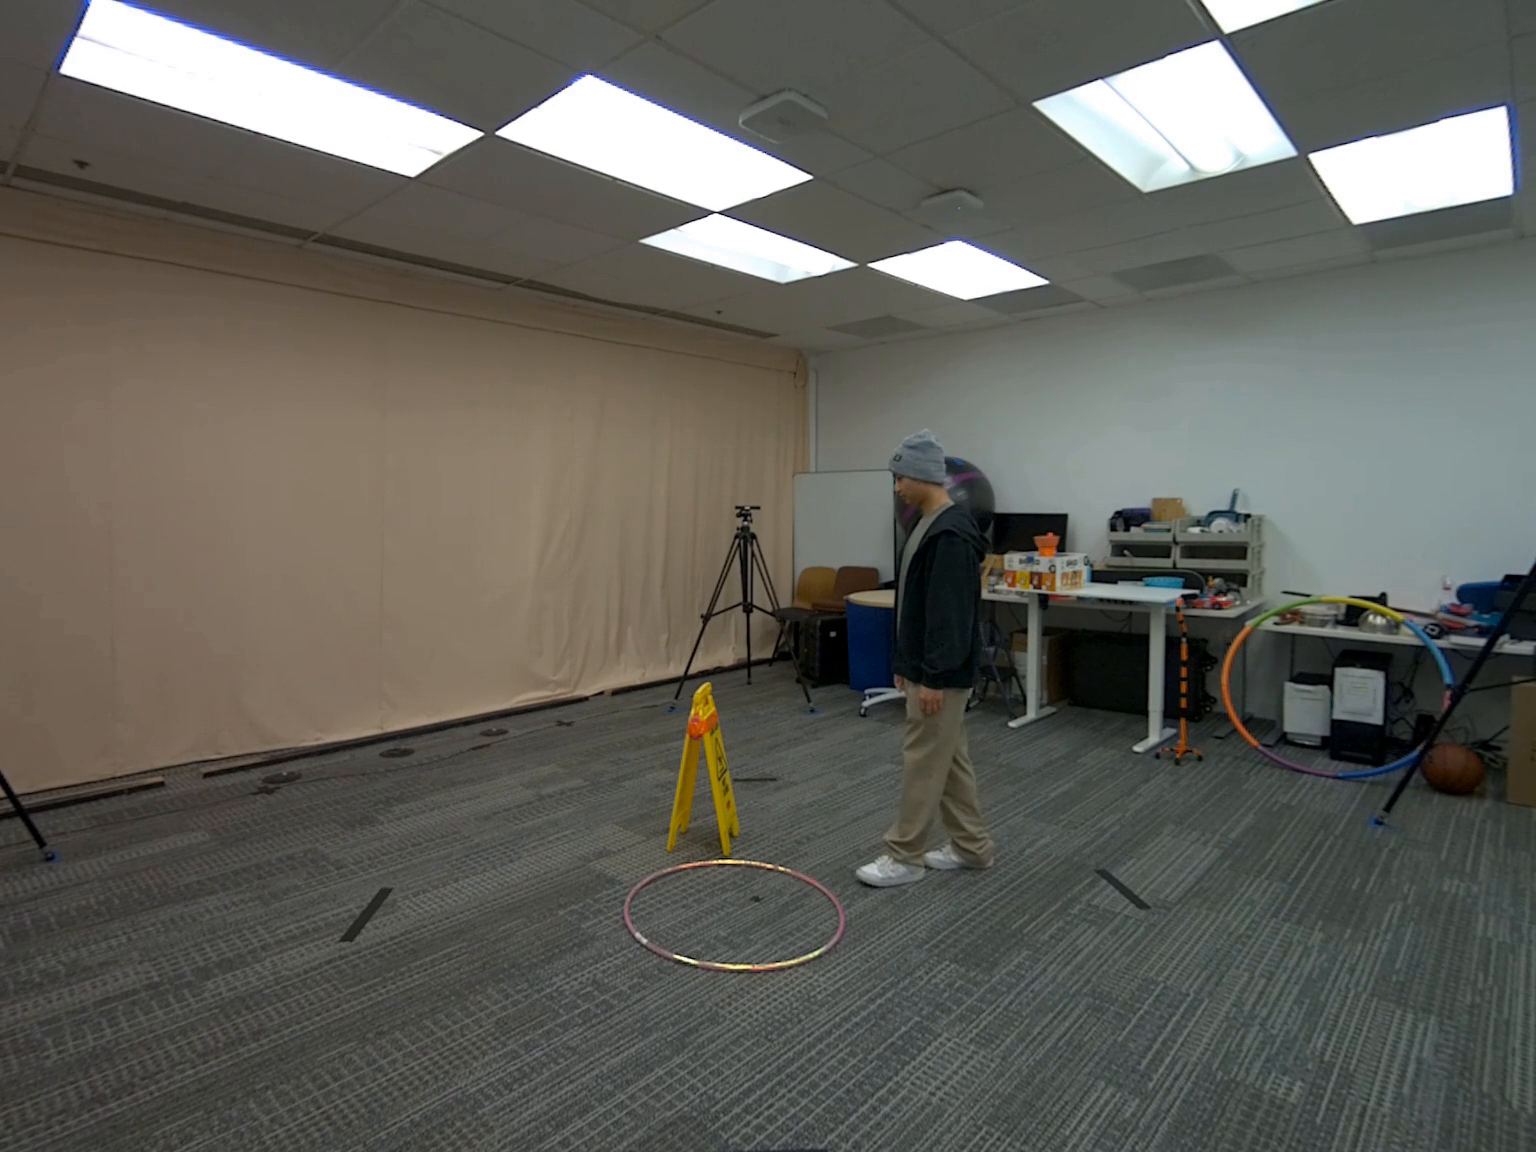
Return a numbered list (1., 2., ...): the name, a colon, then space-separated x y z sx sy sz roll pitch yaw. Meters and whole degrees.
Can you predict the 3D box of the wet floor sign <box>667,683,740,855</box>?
1. wet floor sign: -0.263 0.785 3.481 0.293 0.644 0.279 0 4 11
